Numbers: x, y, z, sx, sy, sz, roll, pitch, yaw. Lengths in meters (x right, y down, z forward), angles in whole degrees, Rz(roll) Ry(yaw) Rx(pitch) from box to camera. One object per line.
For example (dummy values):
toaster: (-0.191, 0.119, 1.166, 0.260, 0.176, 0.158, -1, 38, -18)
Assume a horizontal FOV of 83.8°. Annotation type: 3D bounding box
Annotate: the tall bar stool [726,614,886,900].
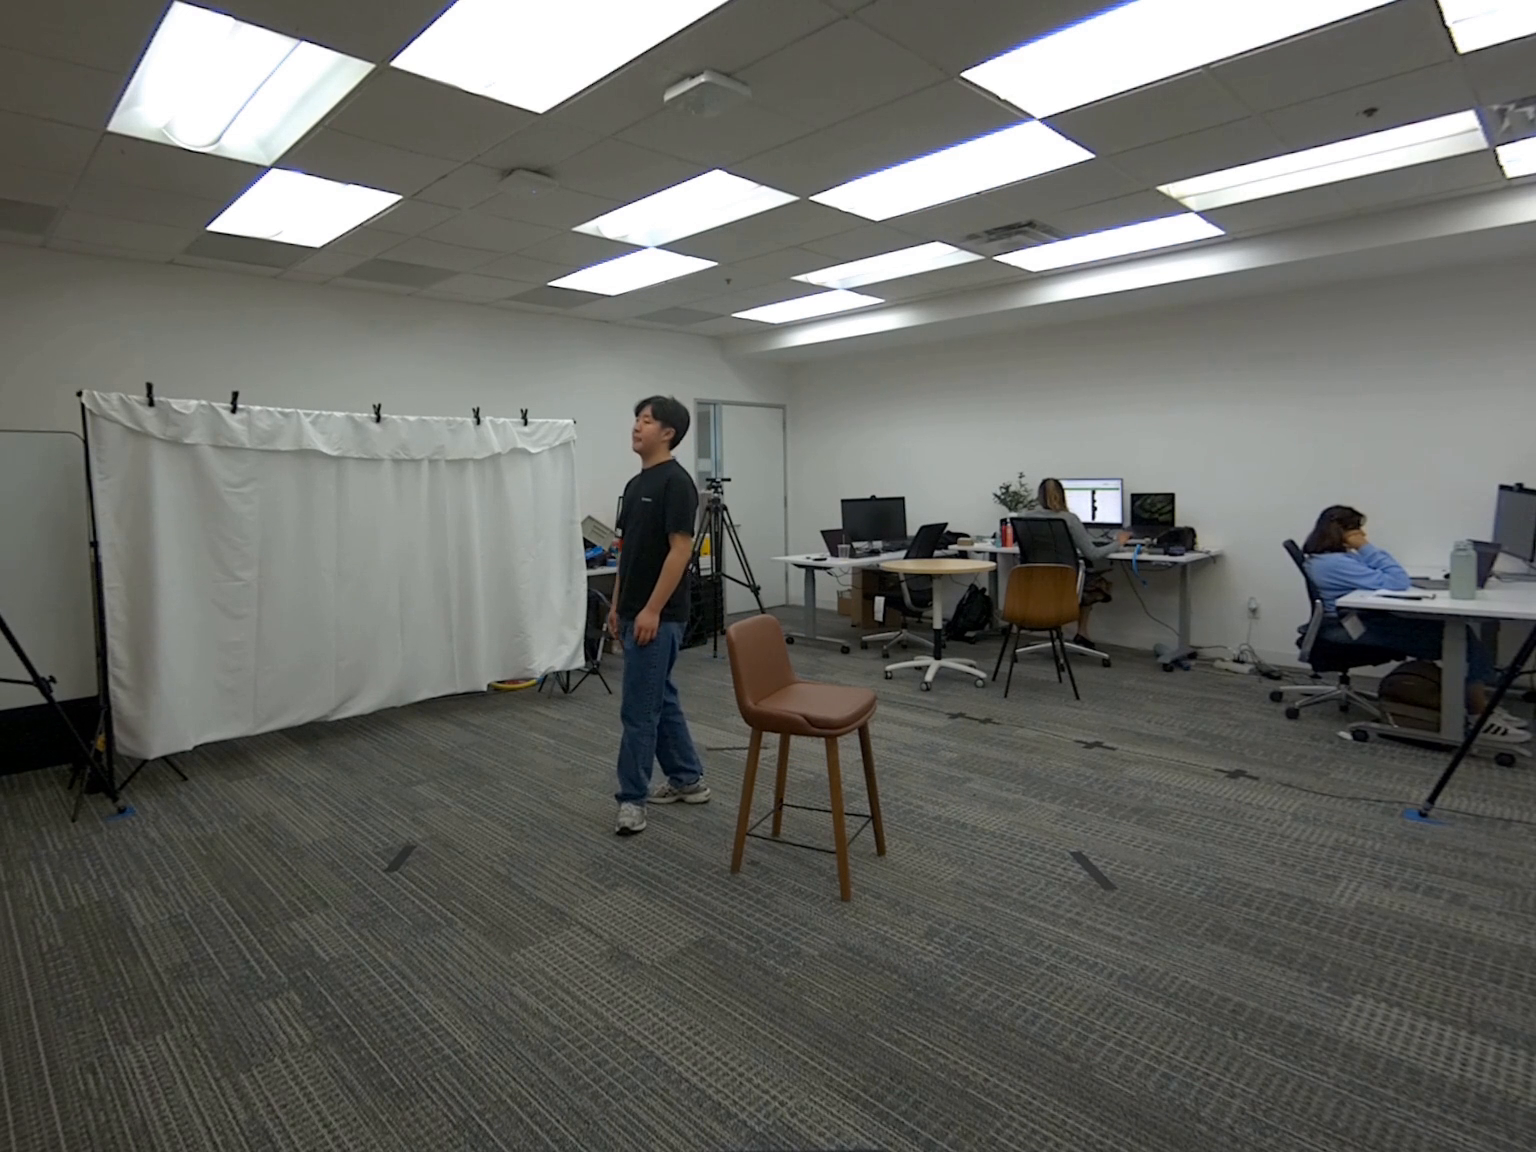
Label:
tall bar stool: (0.141, 0.607, 3.067, 0.479, 0.888, 0.446, -1, 3, 28)
